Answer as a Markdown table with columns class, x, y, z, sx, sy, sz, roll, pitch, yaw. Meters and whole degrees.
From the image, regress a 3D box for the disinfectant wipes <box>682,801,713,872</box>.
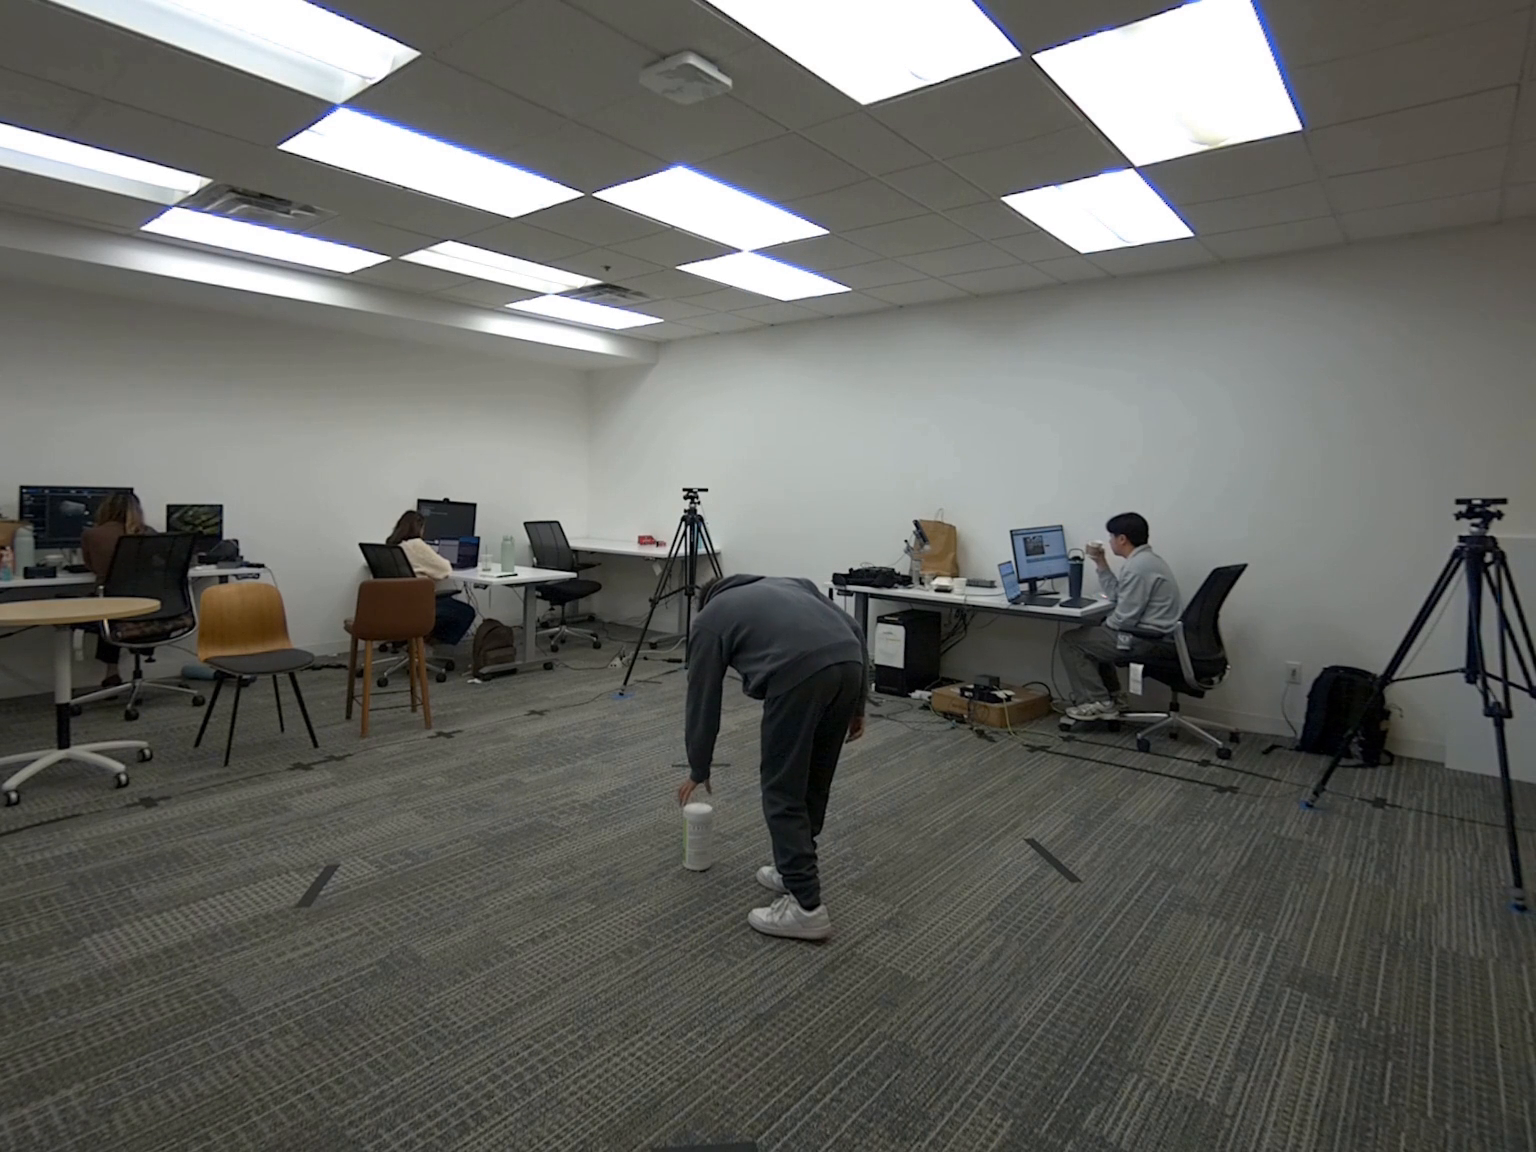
| class | x | y | z | sx | sy | sz | roll | pitch | yaw |
| --- | --- | --- | --- | --- | --- | --- | --- | --- | --- |
| disinfectant wipes | -0.265 | 0.959 | 3.139 | 0.118 | 0.217 | 0.118 | 0 | 3 | -2 |
